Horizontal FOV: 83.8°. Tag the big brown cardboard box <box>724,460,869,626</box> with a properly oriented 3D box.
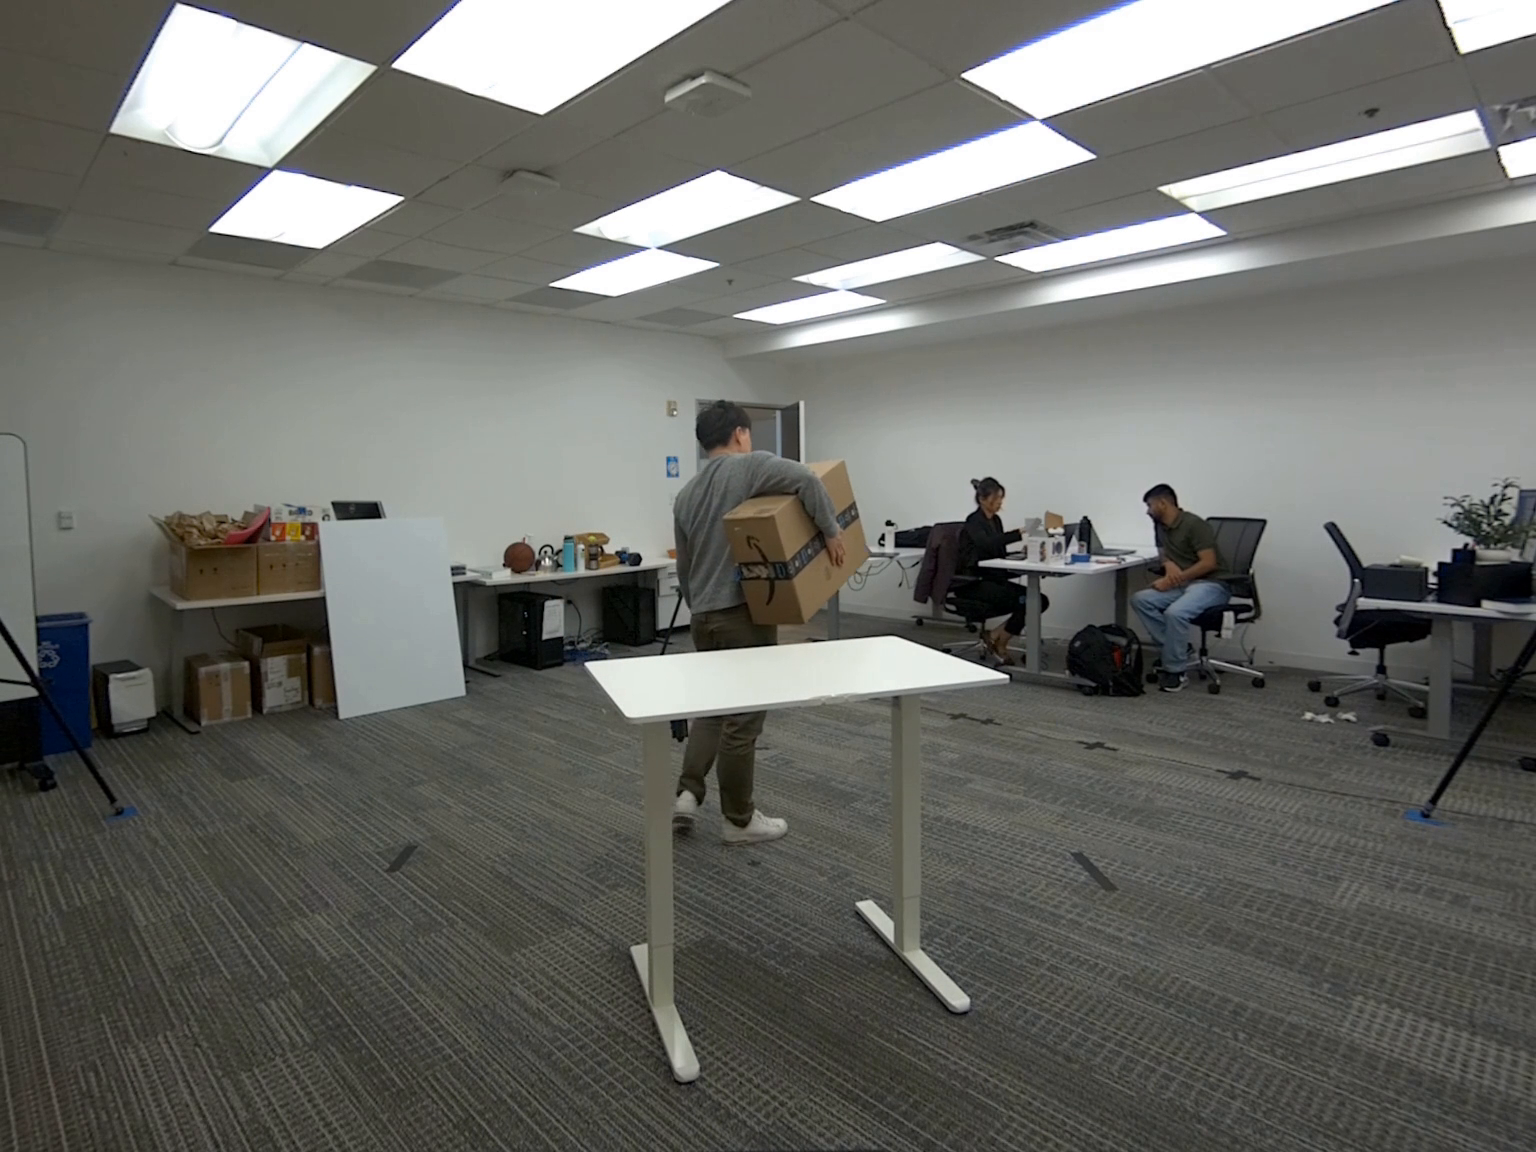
[{"bbox_3d":[0.114,-0.130,3.148,0.239,0.410,0.585,-4,22,35],"label":"big brown cardboard box"}]
